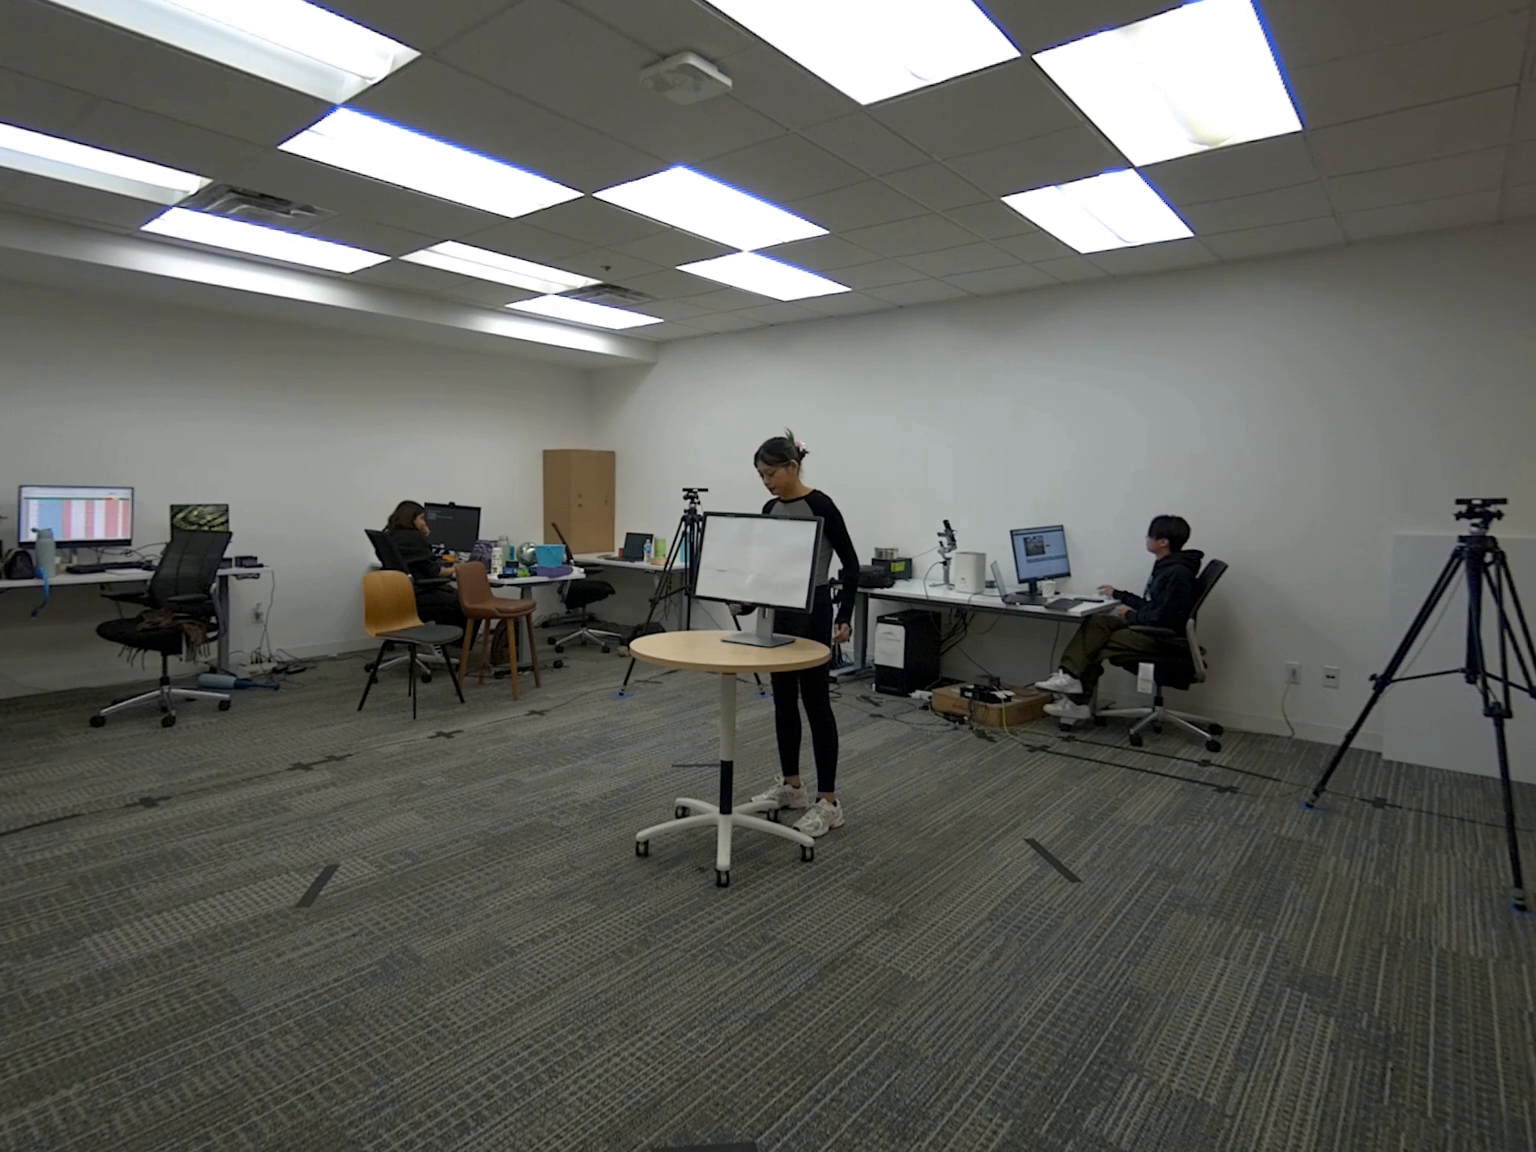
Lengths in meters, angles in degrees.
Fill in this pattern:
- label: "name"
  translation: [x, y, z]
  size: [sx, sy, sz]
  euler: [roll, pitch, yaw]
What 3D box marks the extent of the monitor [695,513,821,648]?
- label: "monitor"
  translation: [-0.048, 0.011, 3.367]
  size: [0.547, 0.511, 0.171]
  euler: [6, 12, 34]
